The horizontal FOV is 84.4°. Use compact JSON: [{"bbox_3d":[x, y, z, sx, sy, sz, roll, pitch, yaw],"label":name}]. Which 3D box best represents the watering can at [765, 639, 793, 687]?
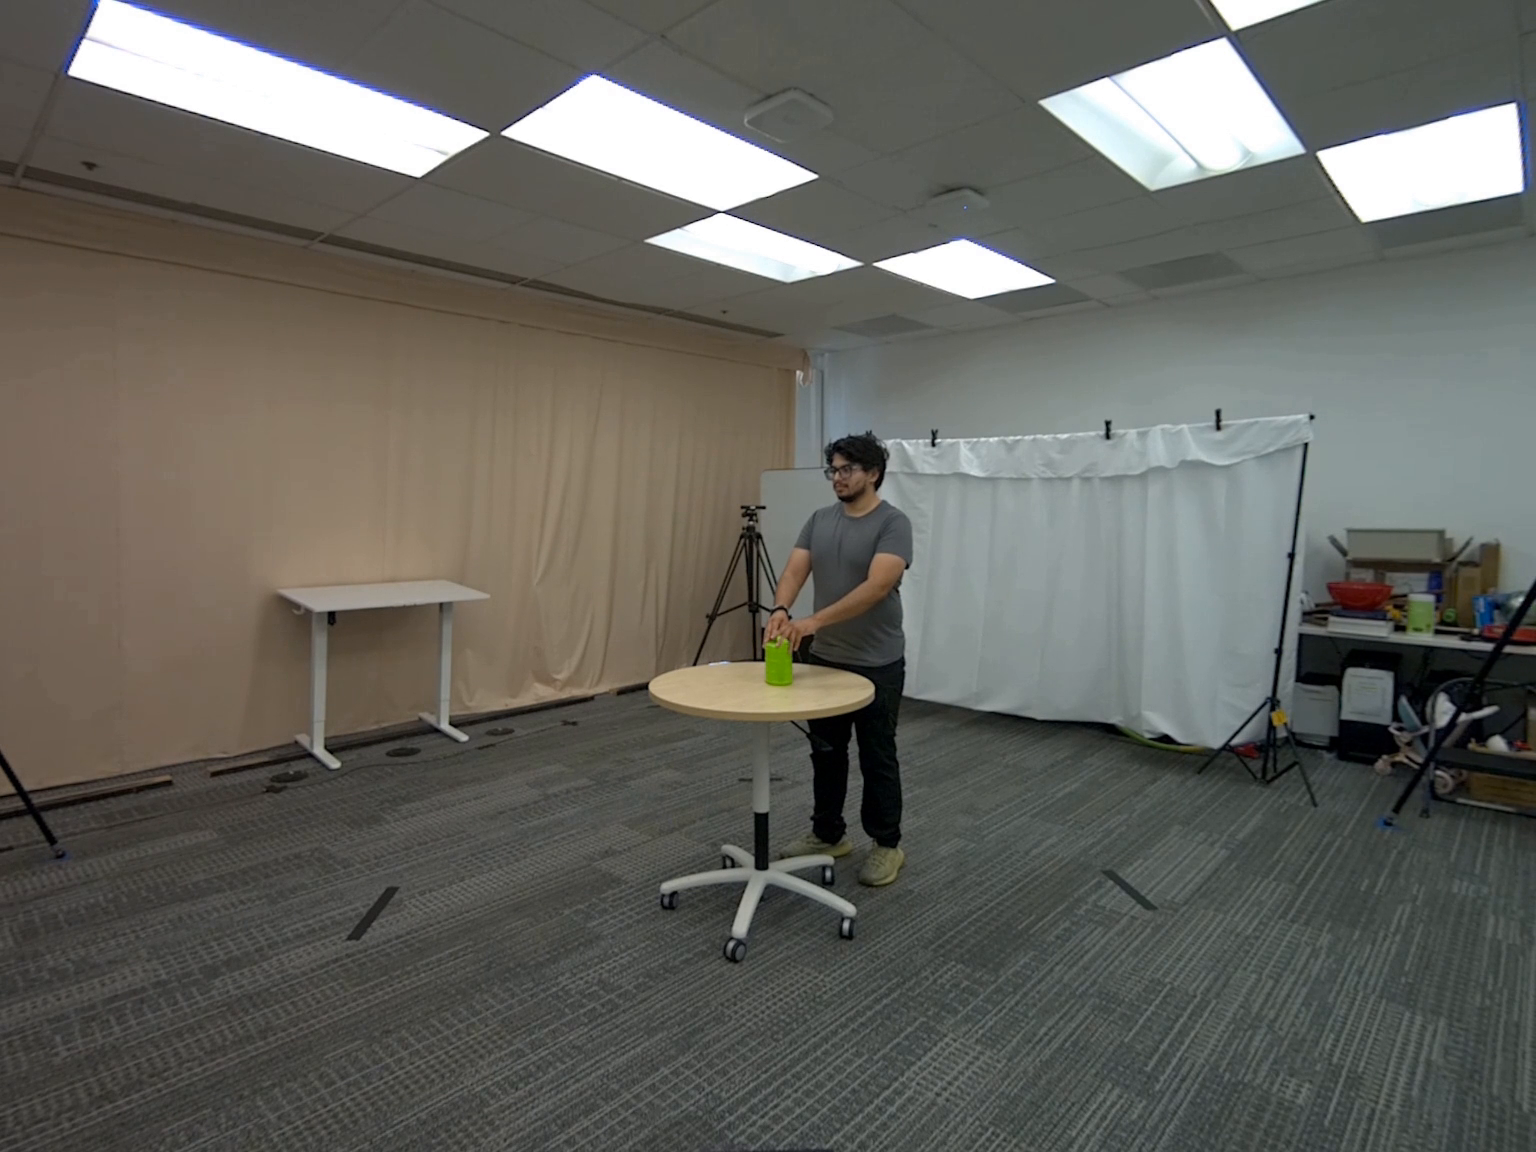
[{"bbox_3d":[0.028,0.284,2.862,0.100,0.177,0.272,3,1,19],"label":"watering can"}]
